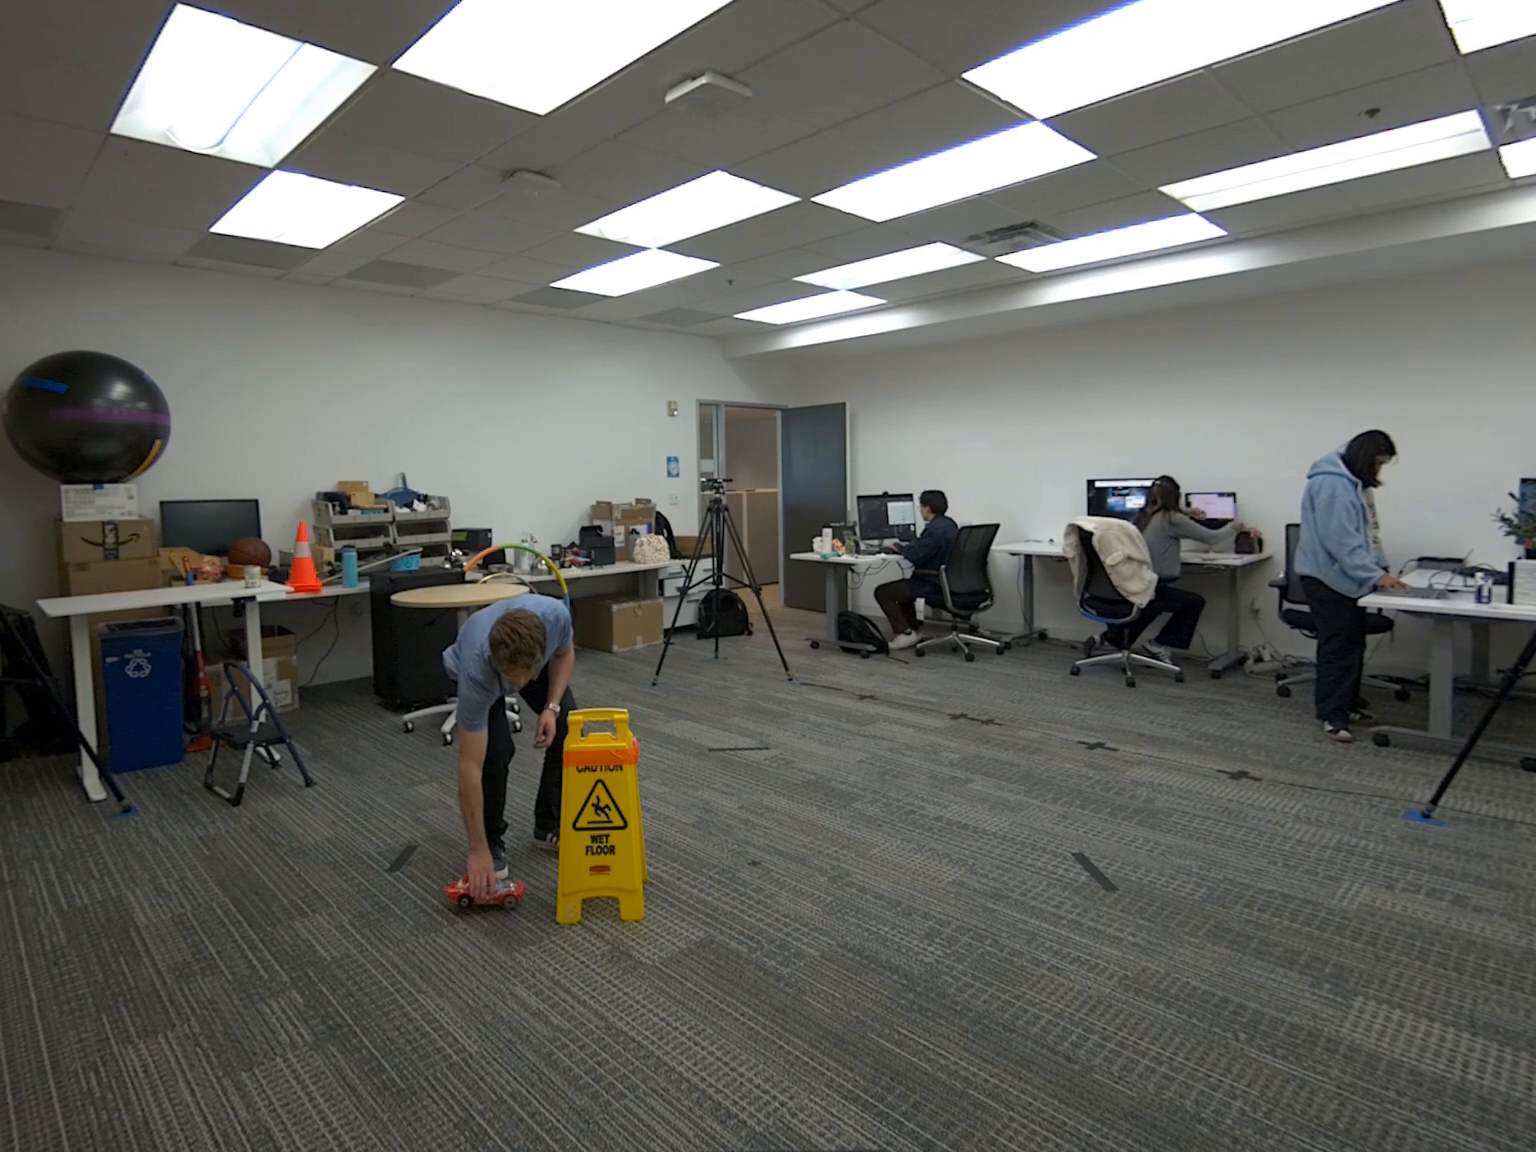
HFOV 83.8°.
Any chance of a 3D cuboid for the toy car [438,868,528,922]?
[{"bbox_3d":[-0.939,1.049,2.827,0.253,0.083,0.131,10,2,-7],"label":"toy car"}]
